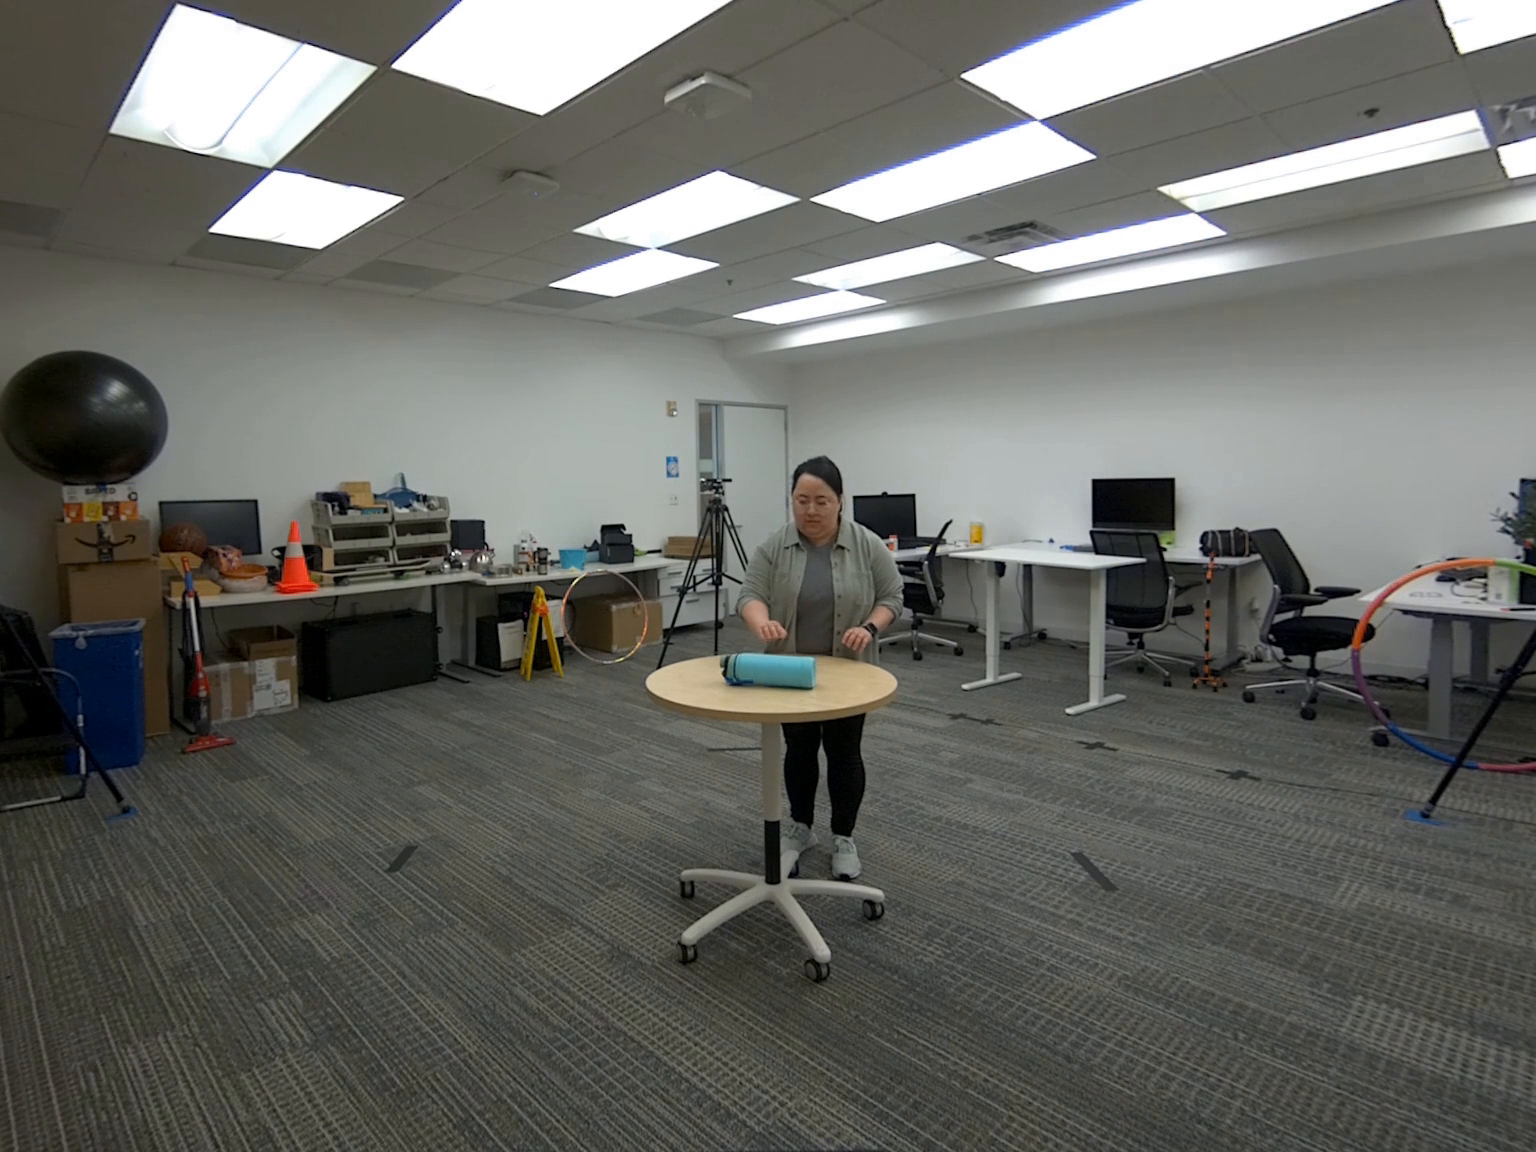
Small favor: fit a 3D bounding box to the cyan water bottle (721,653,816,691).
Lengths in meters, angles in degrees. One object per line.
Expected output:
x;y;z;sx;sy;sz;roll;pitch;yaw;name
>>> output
0.007;0.282;2.531;0.287;0.092;0.091;1;5;13;cyan water bottle
